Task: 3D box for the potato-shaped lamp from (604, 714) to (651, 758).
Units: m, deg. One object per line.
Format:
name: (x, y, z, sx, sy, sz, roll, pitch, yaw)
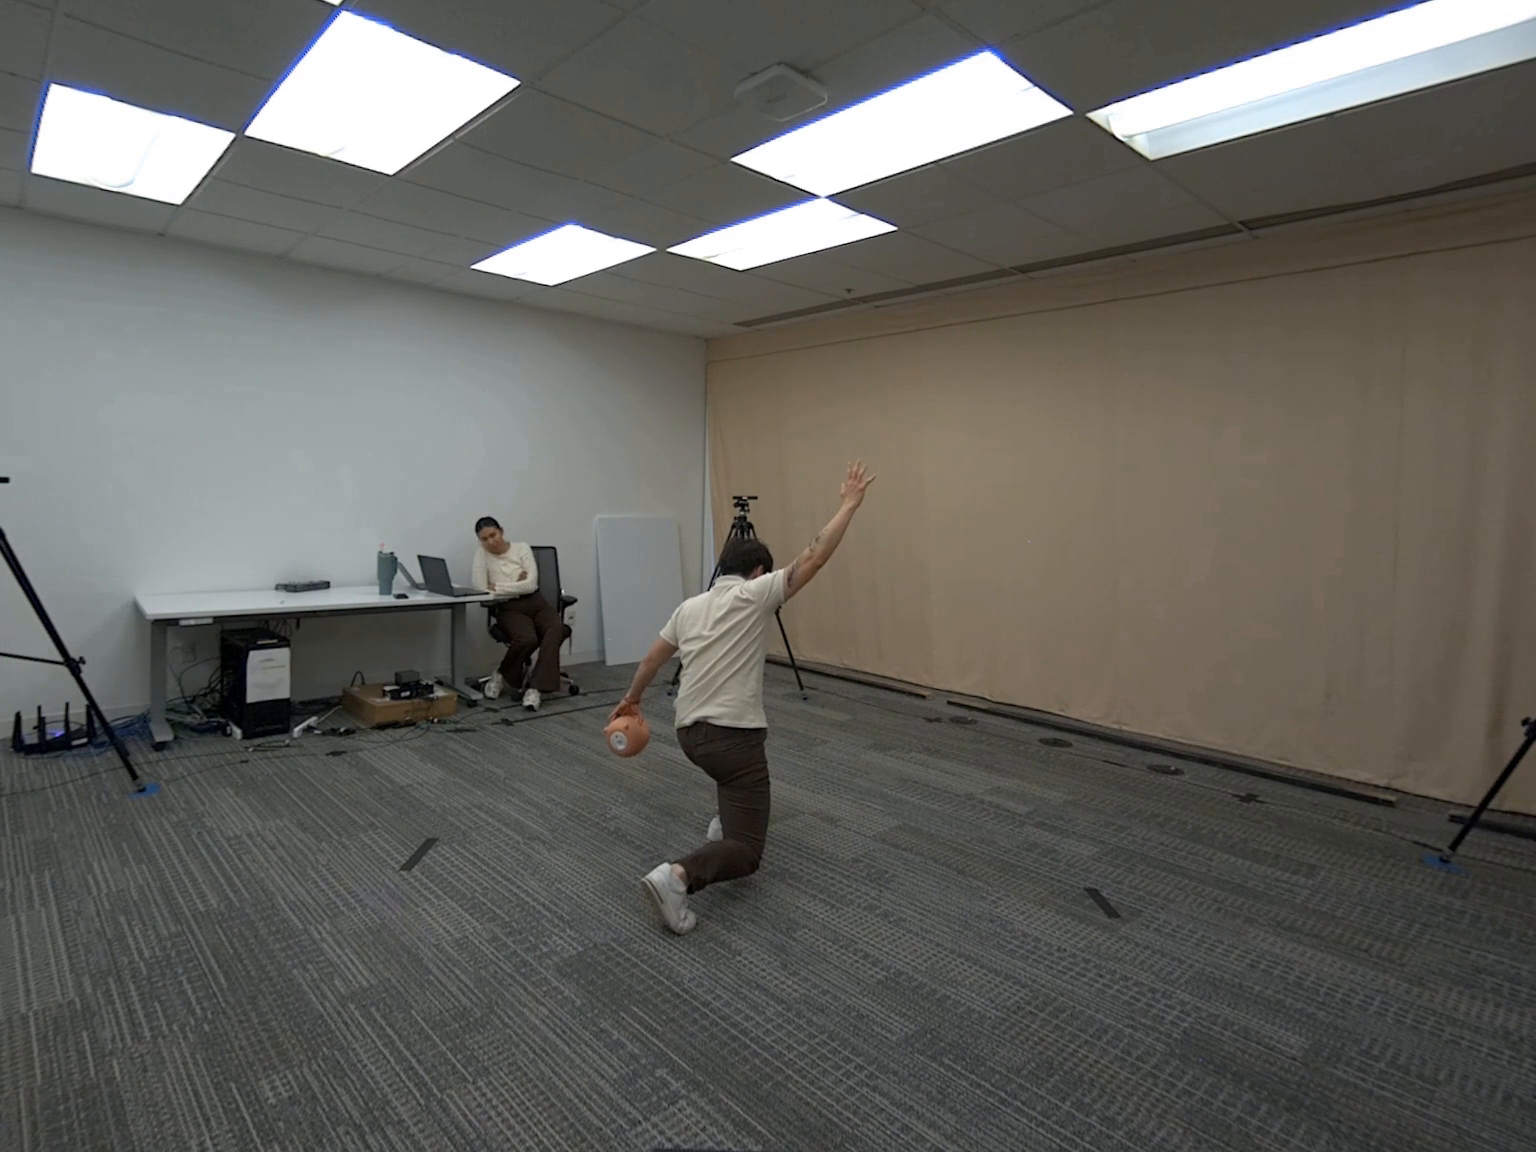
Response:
potato-shaped lamp: (-0.591, 0.664, 3.576, 0.167, 0.170, 0.197, -14, 7, 22)
